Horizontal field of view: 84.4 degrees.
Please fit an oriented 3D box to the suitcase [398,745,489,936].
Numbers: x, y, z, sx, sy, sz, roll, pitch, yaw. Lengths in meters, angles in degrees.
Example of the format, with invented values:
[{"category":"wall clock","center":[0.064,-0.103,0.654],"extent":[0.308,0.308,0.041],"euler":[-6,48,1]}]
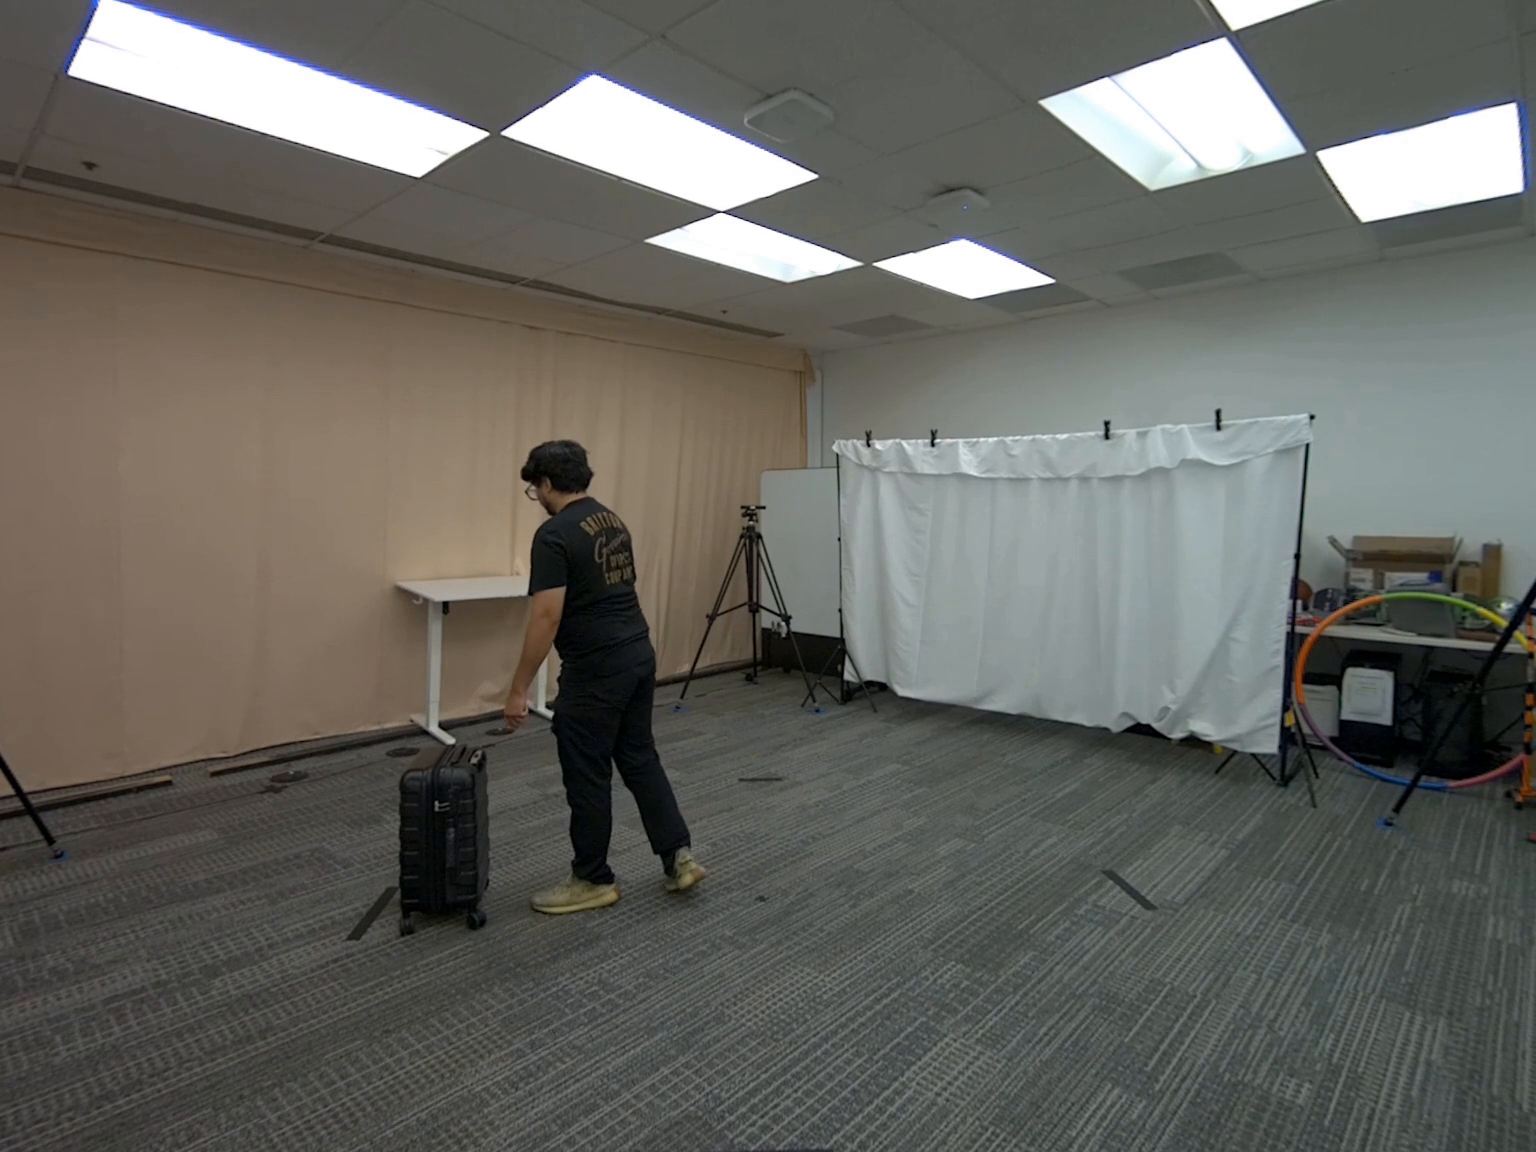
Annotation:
[{"category":"suitcase","center":[-1.119,0.885,2.923],"extent":[0.246,0.548,0.380],"euler":[-1,3,-10]}]
